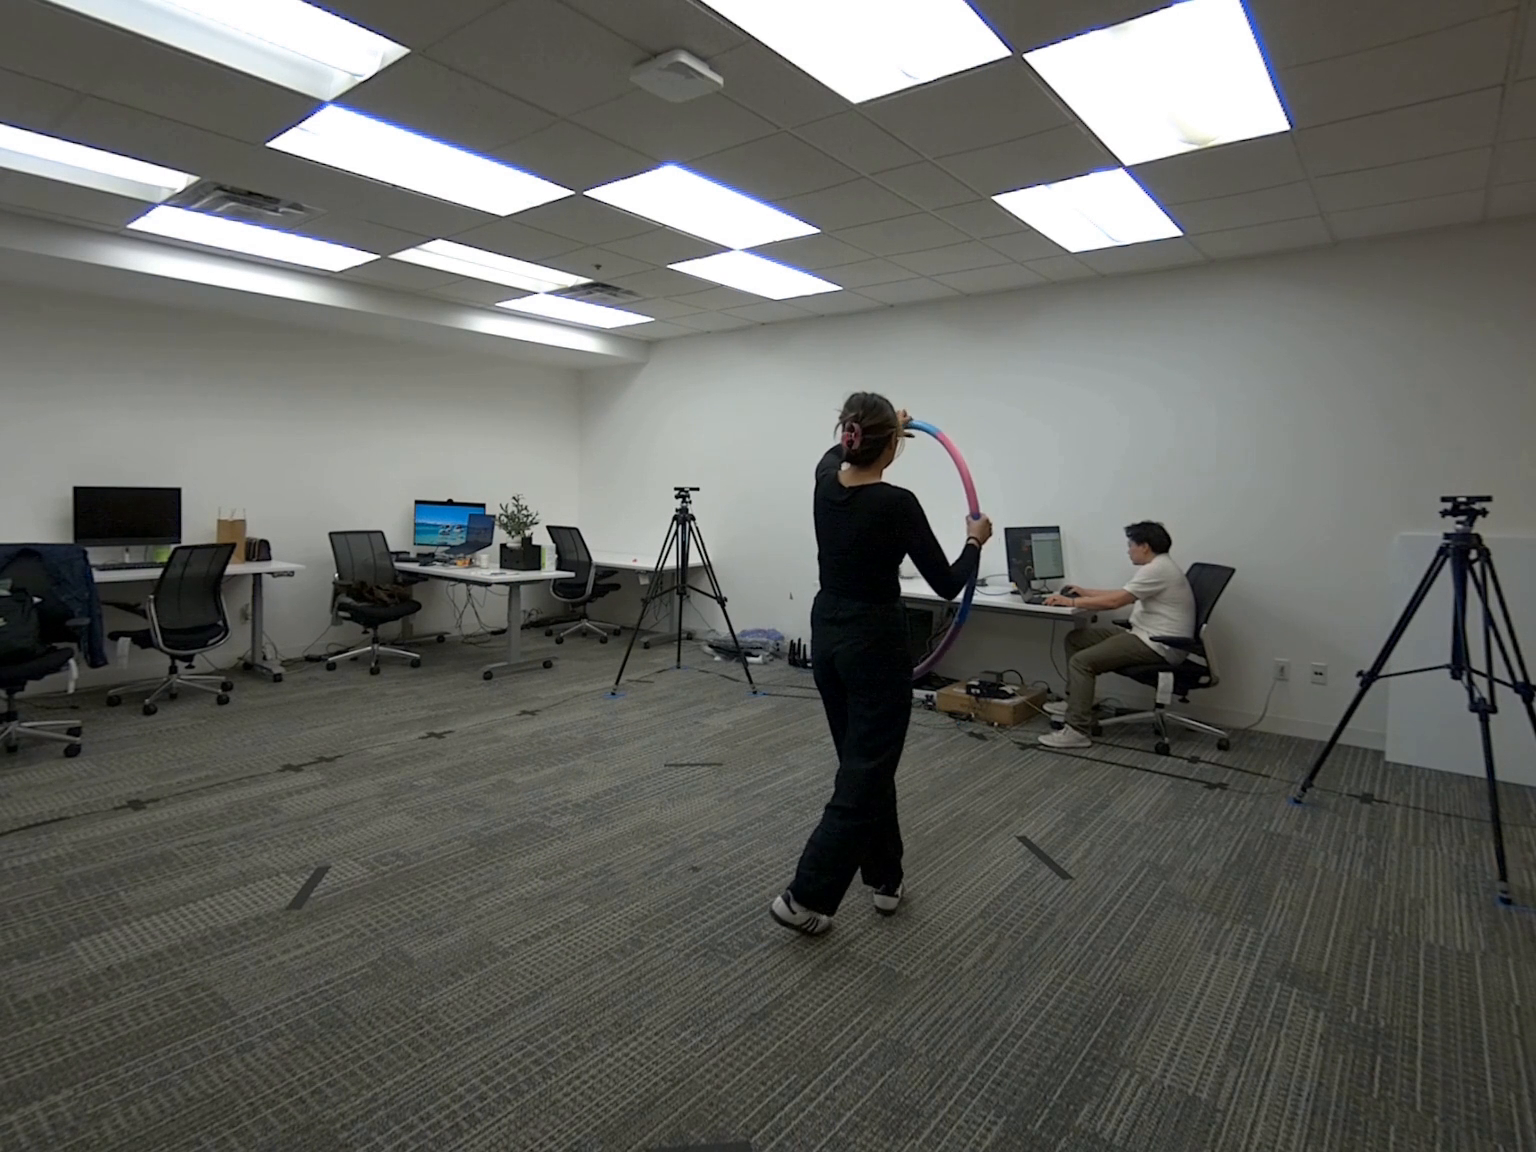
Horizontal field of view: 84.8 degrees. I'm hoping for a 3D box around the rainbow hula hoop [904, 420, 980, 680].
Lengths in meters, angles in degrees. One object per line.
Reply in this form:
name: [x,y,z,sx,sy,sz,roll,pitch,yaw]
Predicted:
rainbow hula hoop: [0.476,-0.096,3.228,0.050,0.983,1.011,2,3,-25]
